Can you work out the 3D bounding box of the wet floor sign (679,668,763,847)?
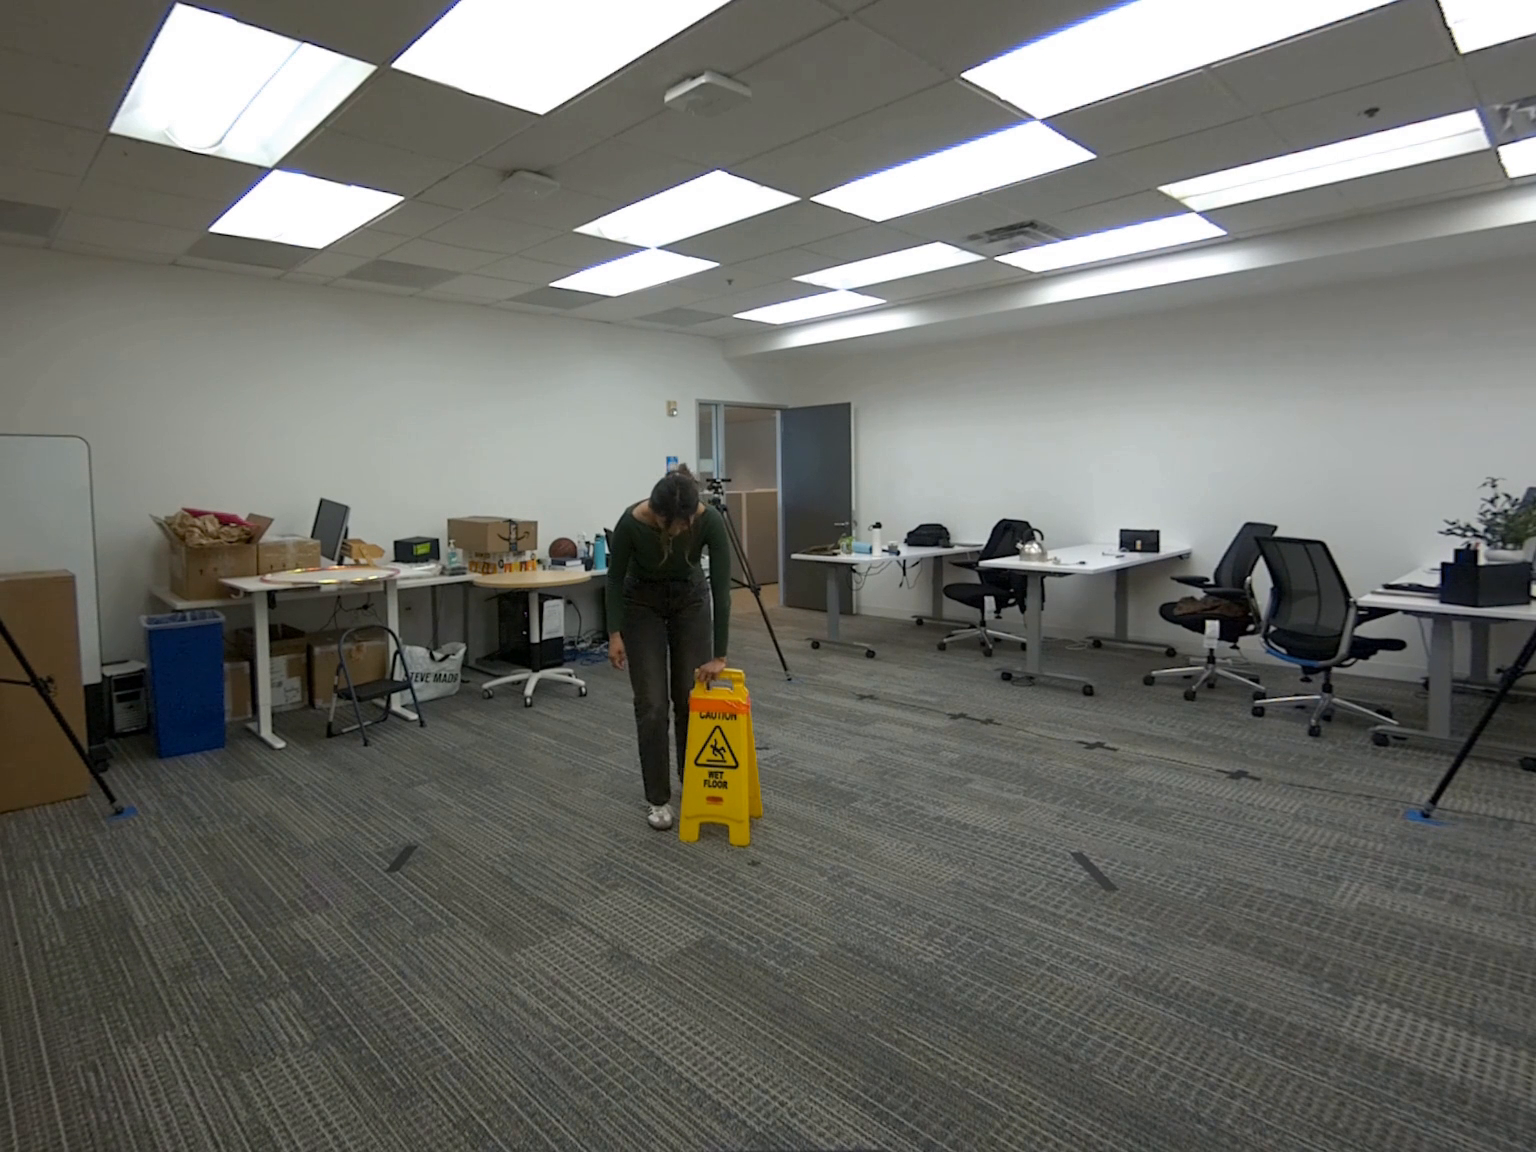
[{"bbox_3d":[-0.186,0.689,3.400,0.285,0.644,0.288,-2,4,10],"label":"wet floor sign"}]
